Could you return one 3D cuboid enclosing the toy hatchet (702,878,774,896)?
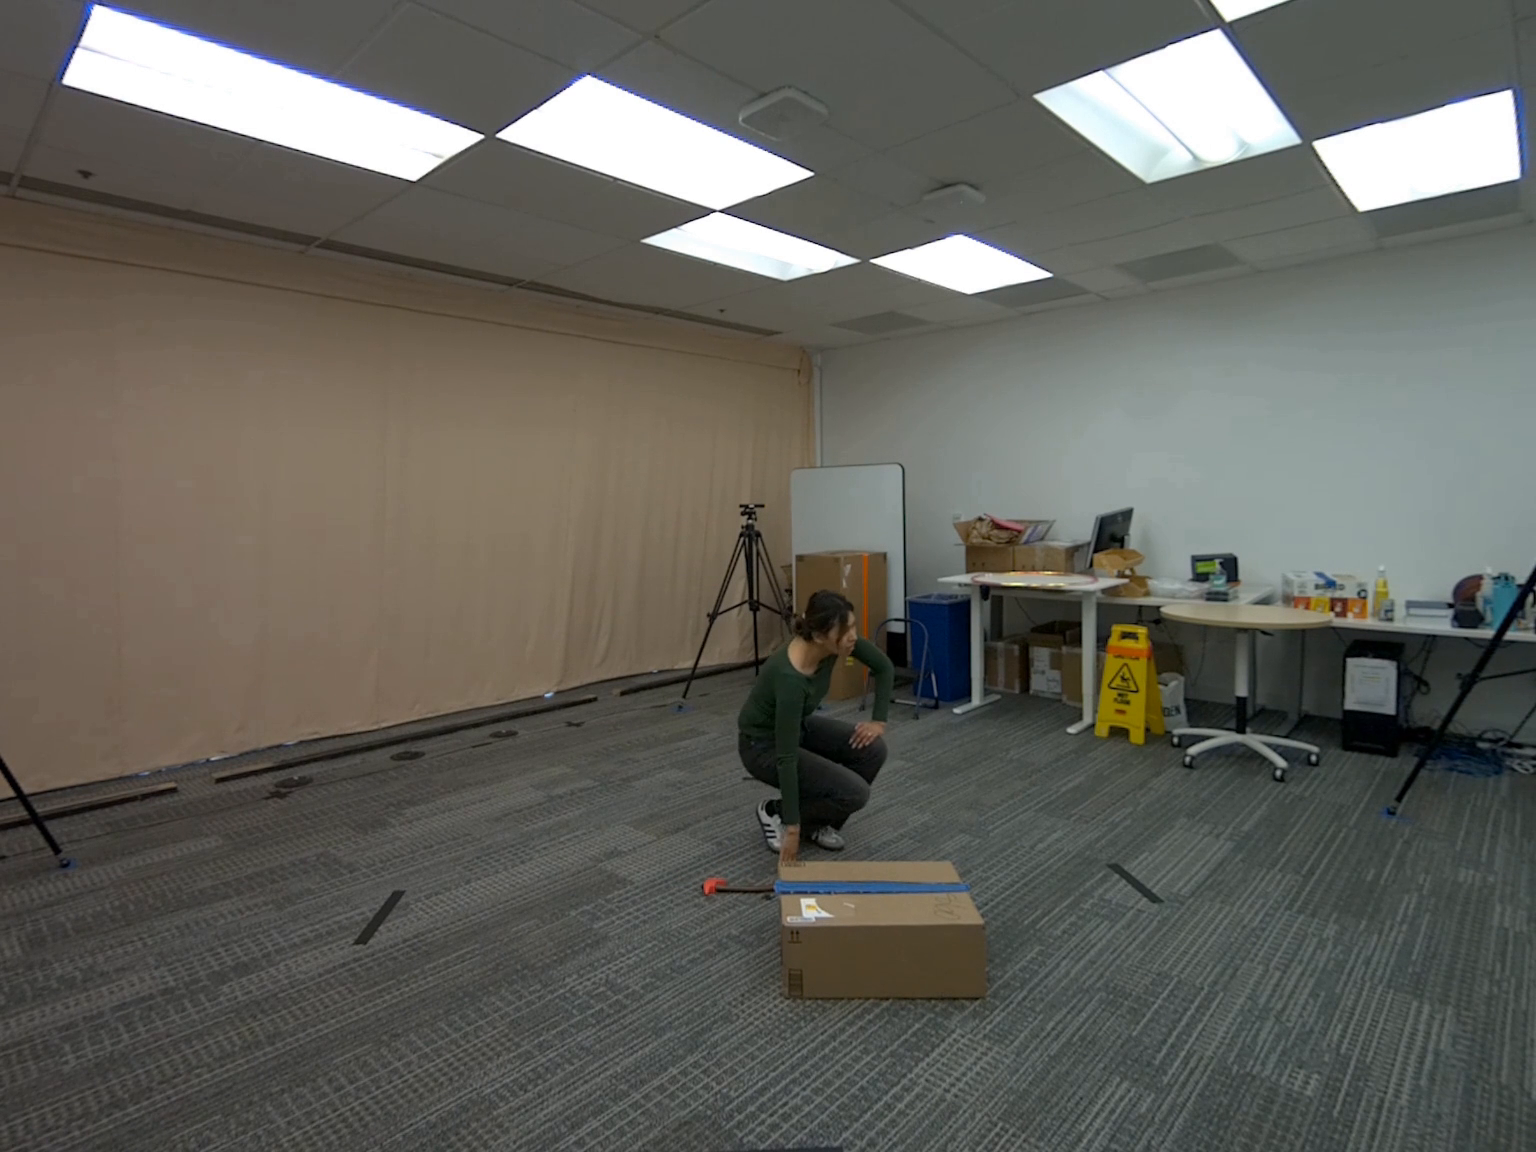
[{"bbox_3d":[-0.105,1.118,3.066,0.267,0.029,0.132,0,0,-11],"label":"toy hatchet"}]
